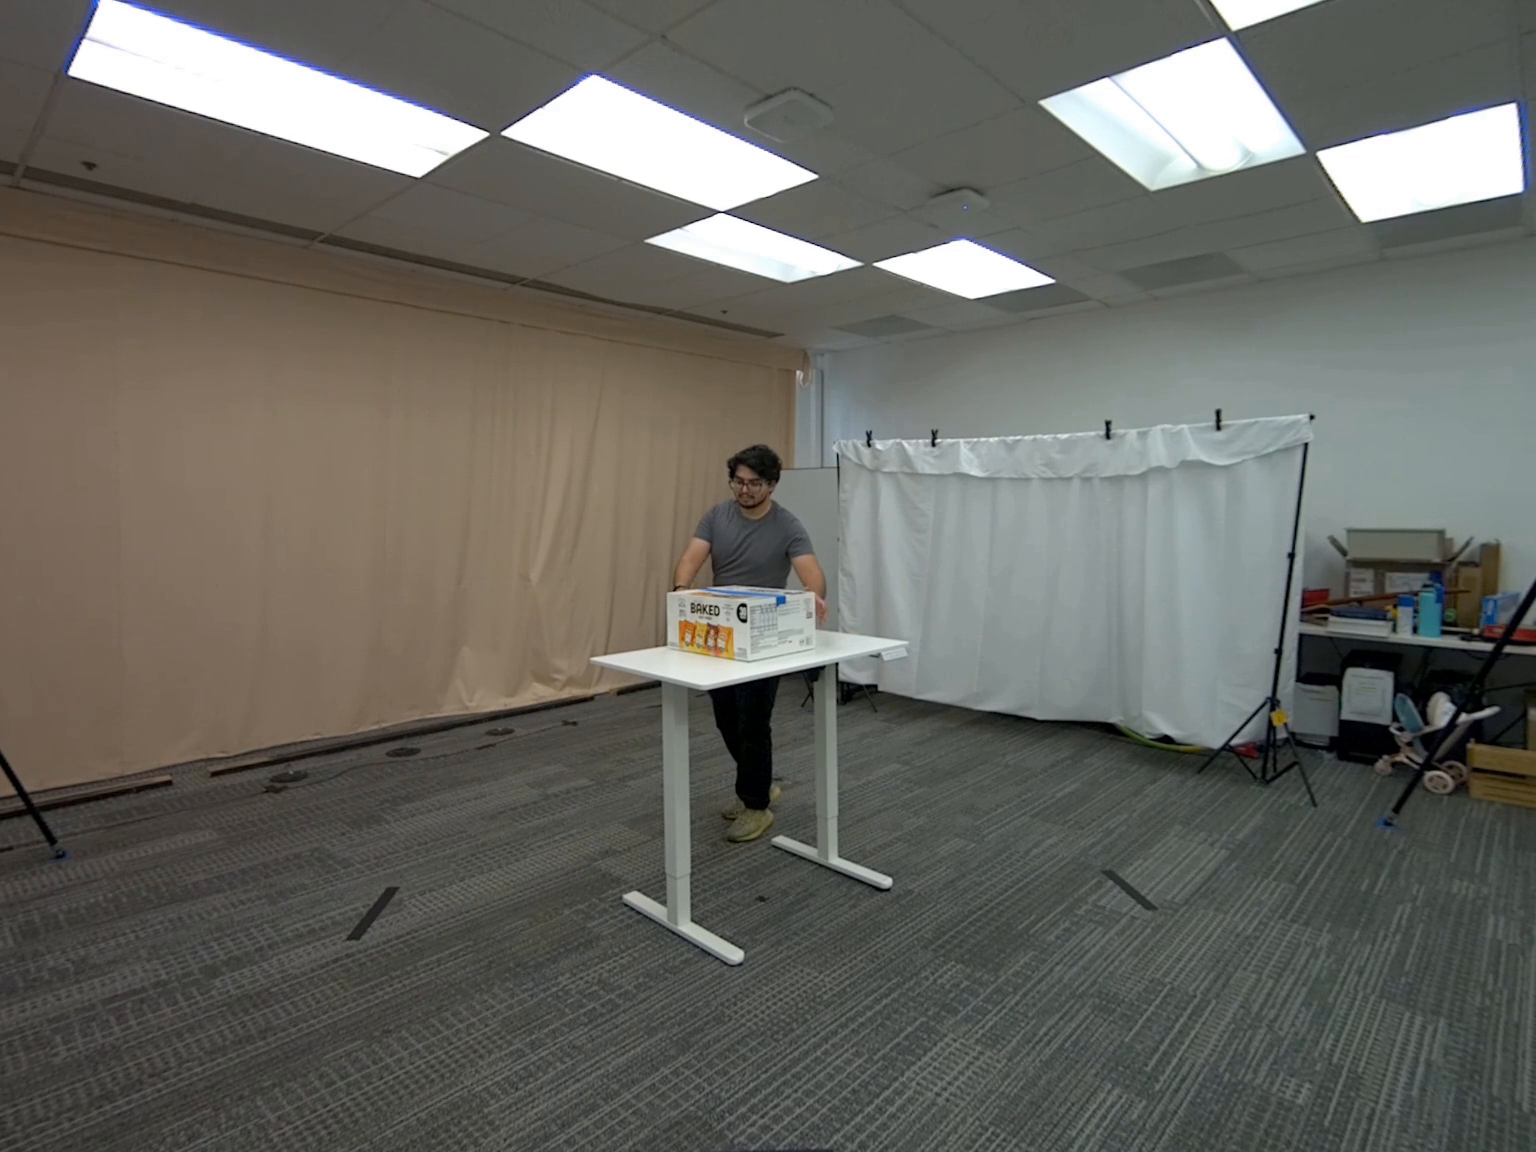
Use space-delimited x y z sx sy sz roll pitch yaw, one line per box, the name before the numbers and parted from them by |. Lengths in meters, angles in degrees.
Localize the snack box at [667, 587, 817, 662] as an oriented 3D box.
snack box | -0.097 0.158 2.988 0.419 0.205 0.330 4 6 44
